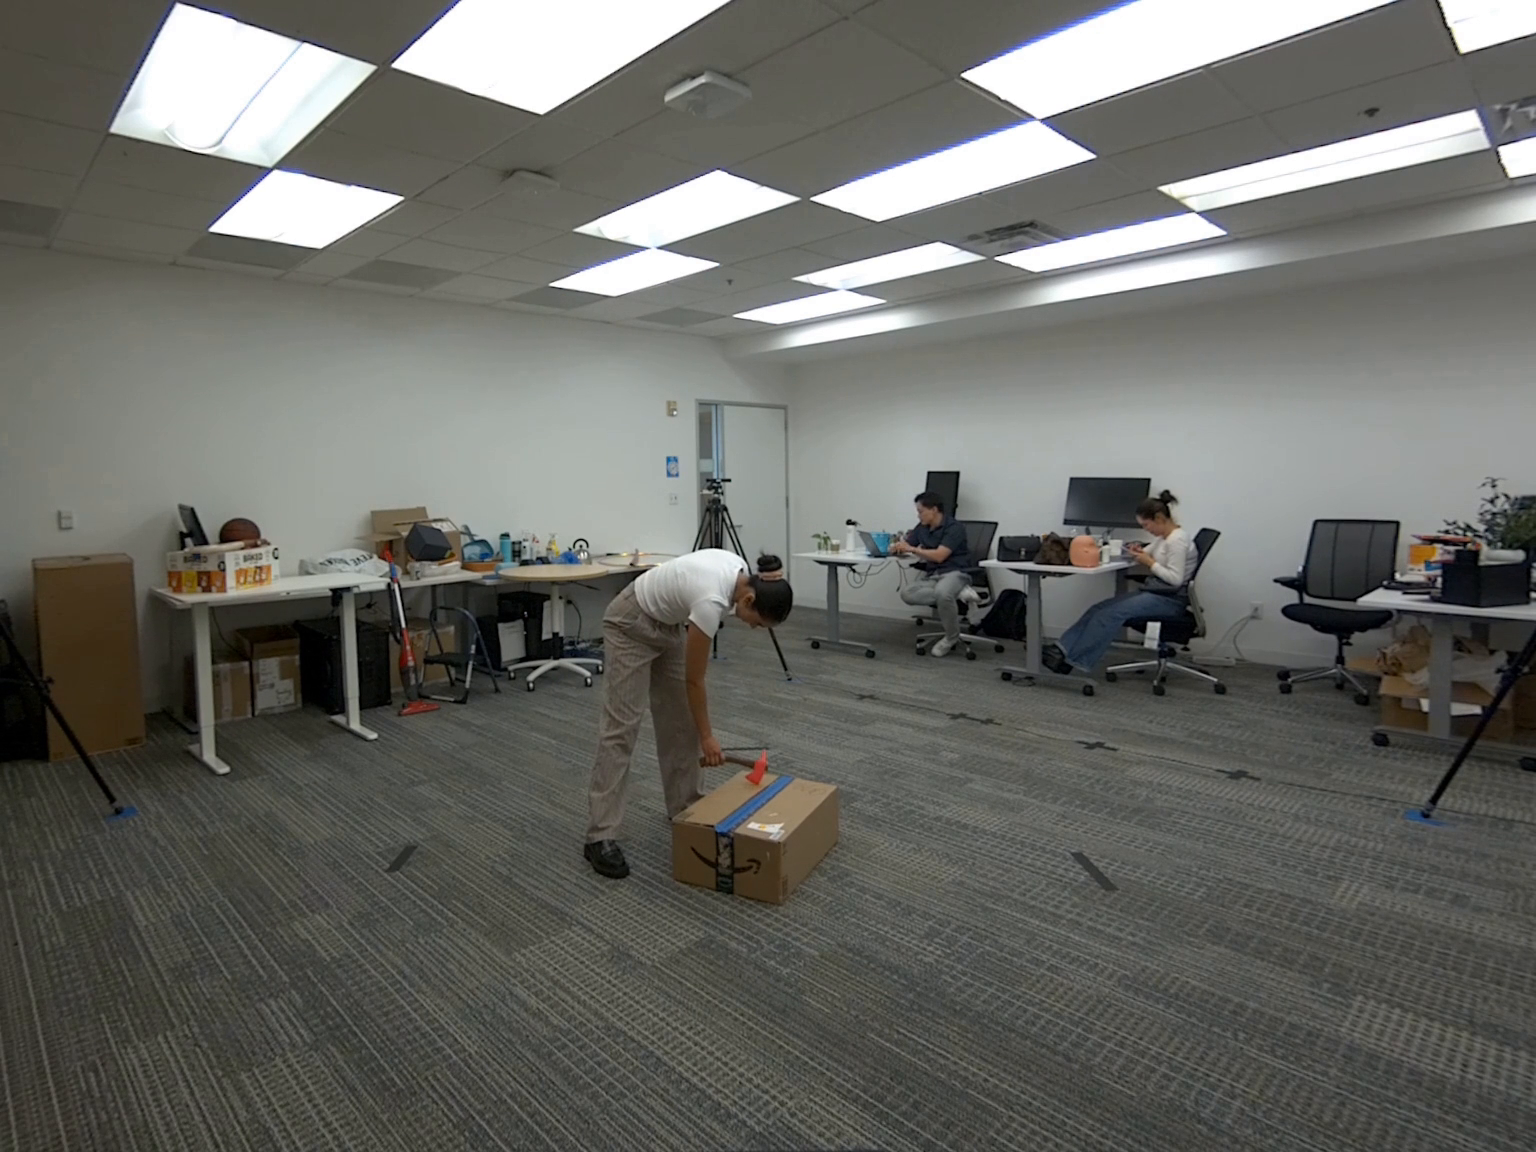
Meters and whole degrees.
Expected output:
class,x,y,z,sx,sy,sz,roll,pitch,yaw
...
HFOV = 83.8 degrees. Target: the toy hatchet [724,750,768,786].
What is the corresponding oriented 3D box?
class,x,y,z,sx,sy,sz,roll,pitch,yaw
toy hatchet,-0.135,0.752,3.334,0.273,0.133,0.029,-7,-22,12
